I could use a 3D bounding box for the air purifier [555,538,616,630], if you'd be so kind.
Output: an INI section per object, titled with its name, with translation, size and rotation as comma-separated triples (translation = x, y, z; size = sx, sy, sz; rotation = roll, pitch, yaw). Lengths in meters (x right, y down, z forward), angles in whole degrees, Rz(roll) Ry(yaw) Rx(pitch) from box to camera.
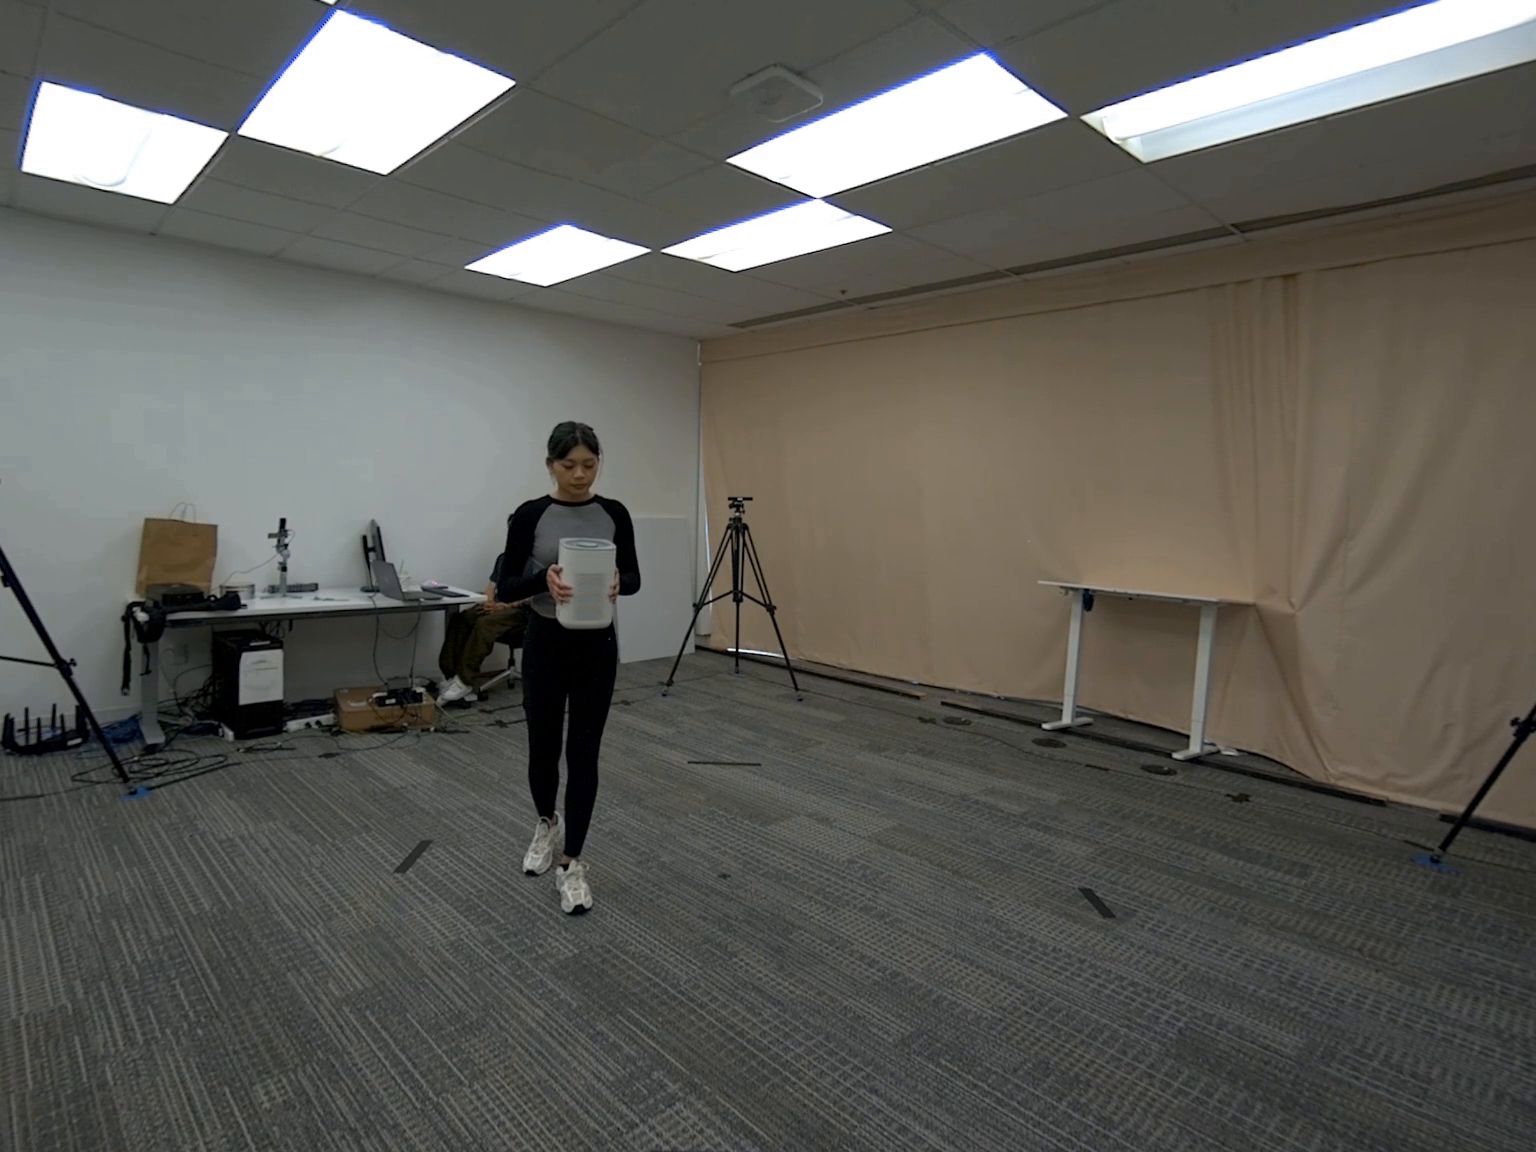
[air purifier]
translation = -0.611, 0.024, 2.690
size = 0.169, 0.263, 0.175
rotation = 1, 10, -20
